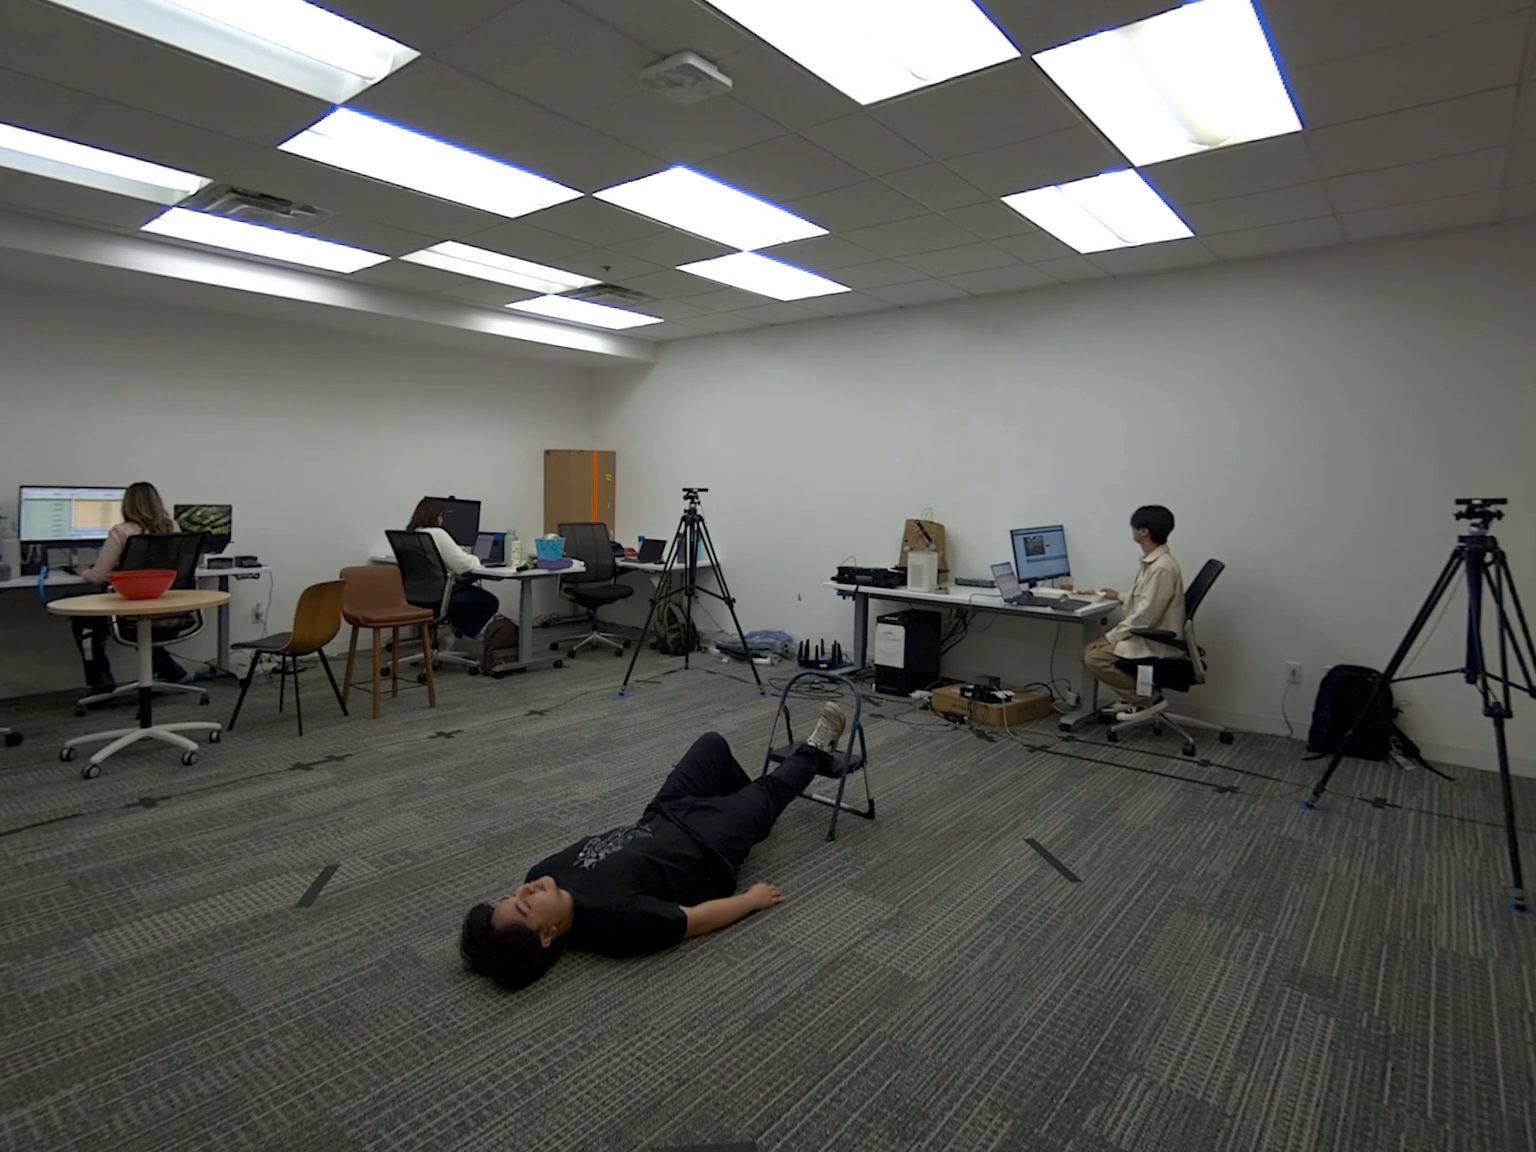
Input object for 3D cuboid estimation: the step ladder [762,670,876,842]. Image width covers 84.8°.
[{"bbox_3d":[0.195,0.728,3.640,0.445,0.604,0.339,5,5,40],"label":"step ladder"}]
